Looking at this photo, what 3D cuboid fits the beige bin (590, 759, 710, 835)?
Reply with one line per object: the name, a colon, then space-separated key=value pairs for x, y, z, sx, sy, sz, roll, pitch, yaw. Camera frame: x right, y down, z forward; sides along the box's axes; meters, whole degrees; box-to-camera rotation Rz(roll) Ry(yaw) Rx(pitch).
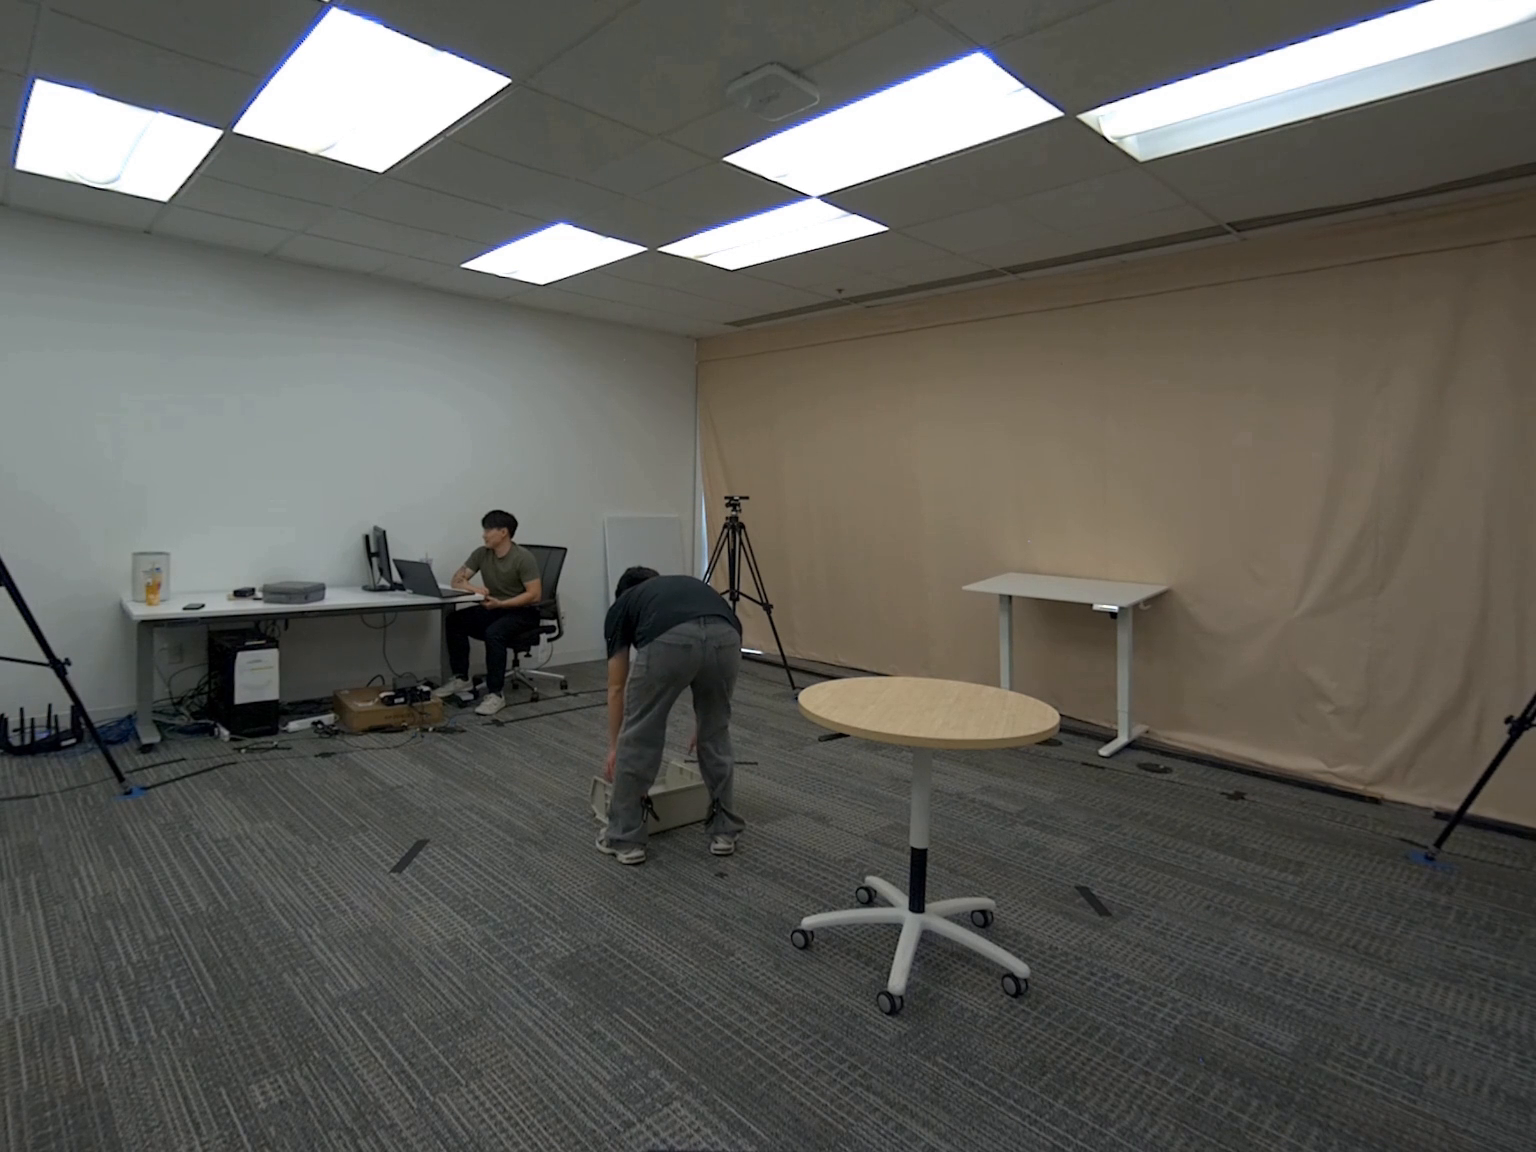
beige bin: x=-0.500 y=0.956 z=3.651 sx=0.412 sy=0.188 sz=0.387 roll=-2 pitch=6 yaw=-42
